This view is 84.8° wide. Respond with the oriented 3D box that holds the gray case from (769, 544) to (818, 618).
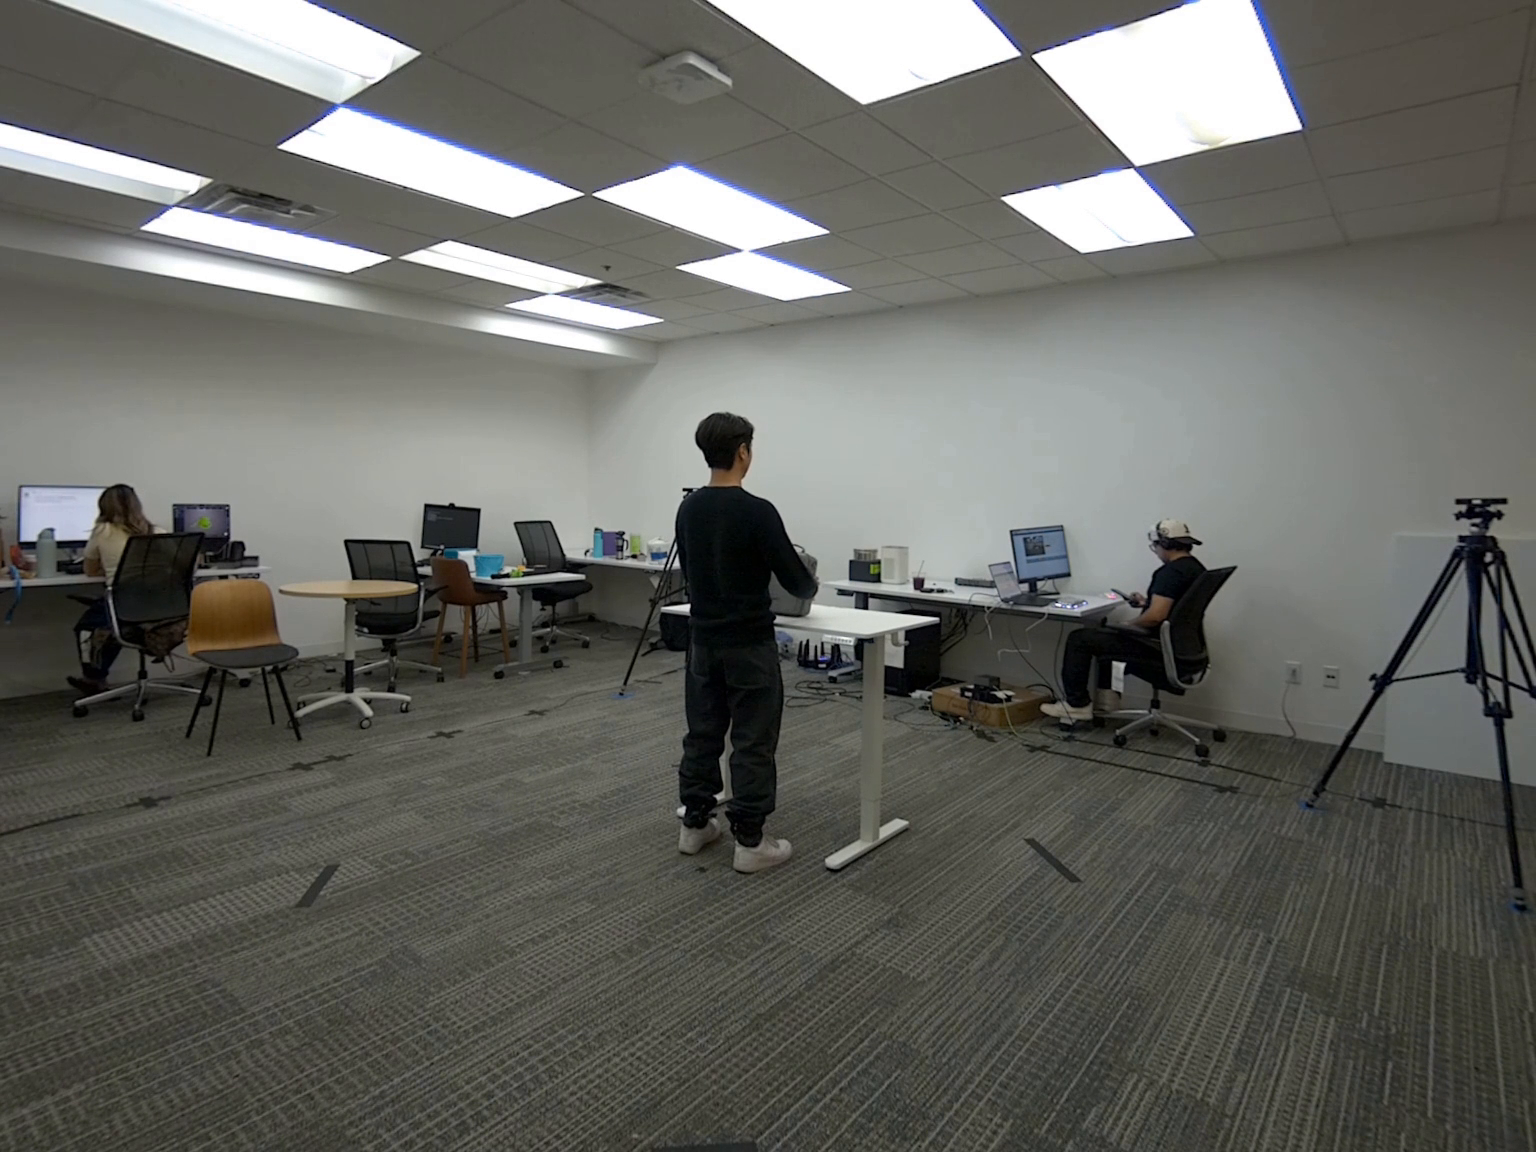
[{"bbox_3d":[0.055,0.022,3.508,0.265,0.262,0.100,4,-9,40],"label":"gray case"}]
